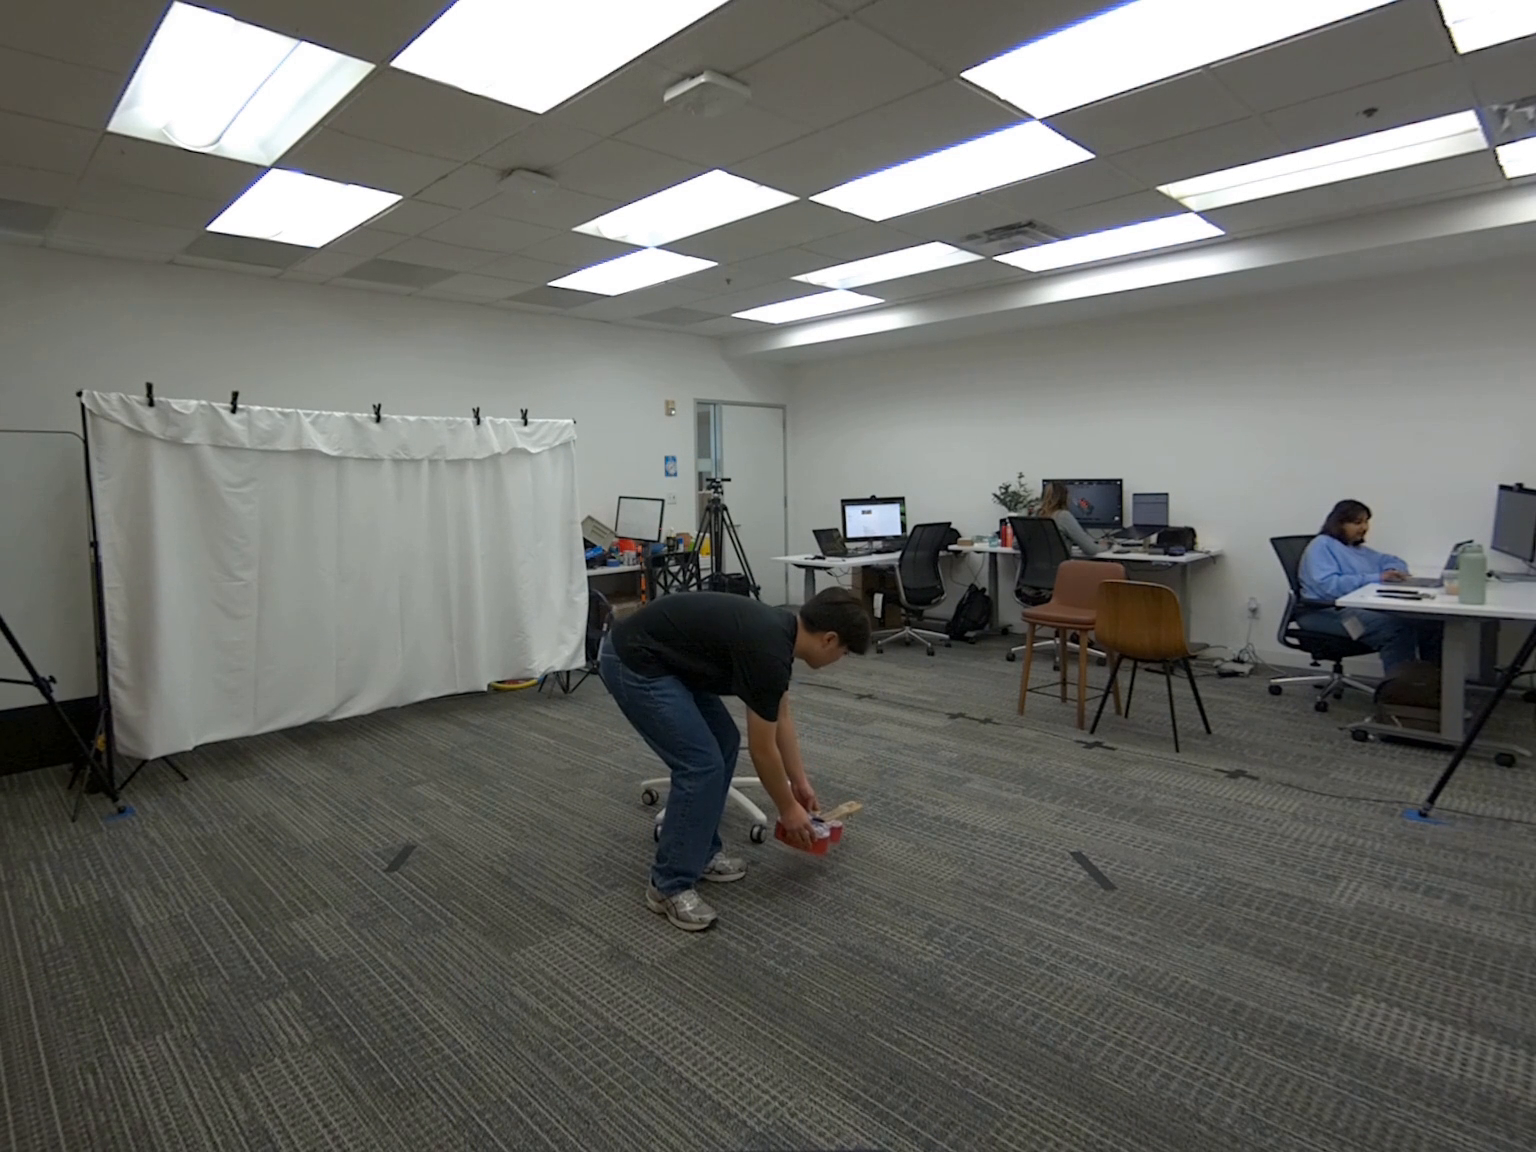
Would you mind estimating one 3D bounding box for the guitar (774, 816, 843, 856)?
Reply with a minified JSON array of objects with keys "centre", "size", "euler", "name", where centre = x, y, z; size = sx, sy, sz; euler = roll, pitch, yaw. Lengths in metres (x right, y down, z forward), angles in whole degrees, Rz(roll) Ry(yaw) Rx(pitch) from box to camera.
[{"centre":[0.245,0.899,3.066],"size":[0.200,0.070,0.482],"euler":[14,6,41],"name":"guitar"}]
